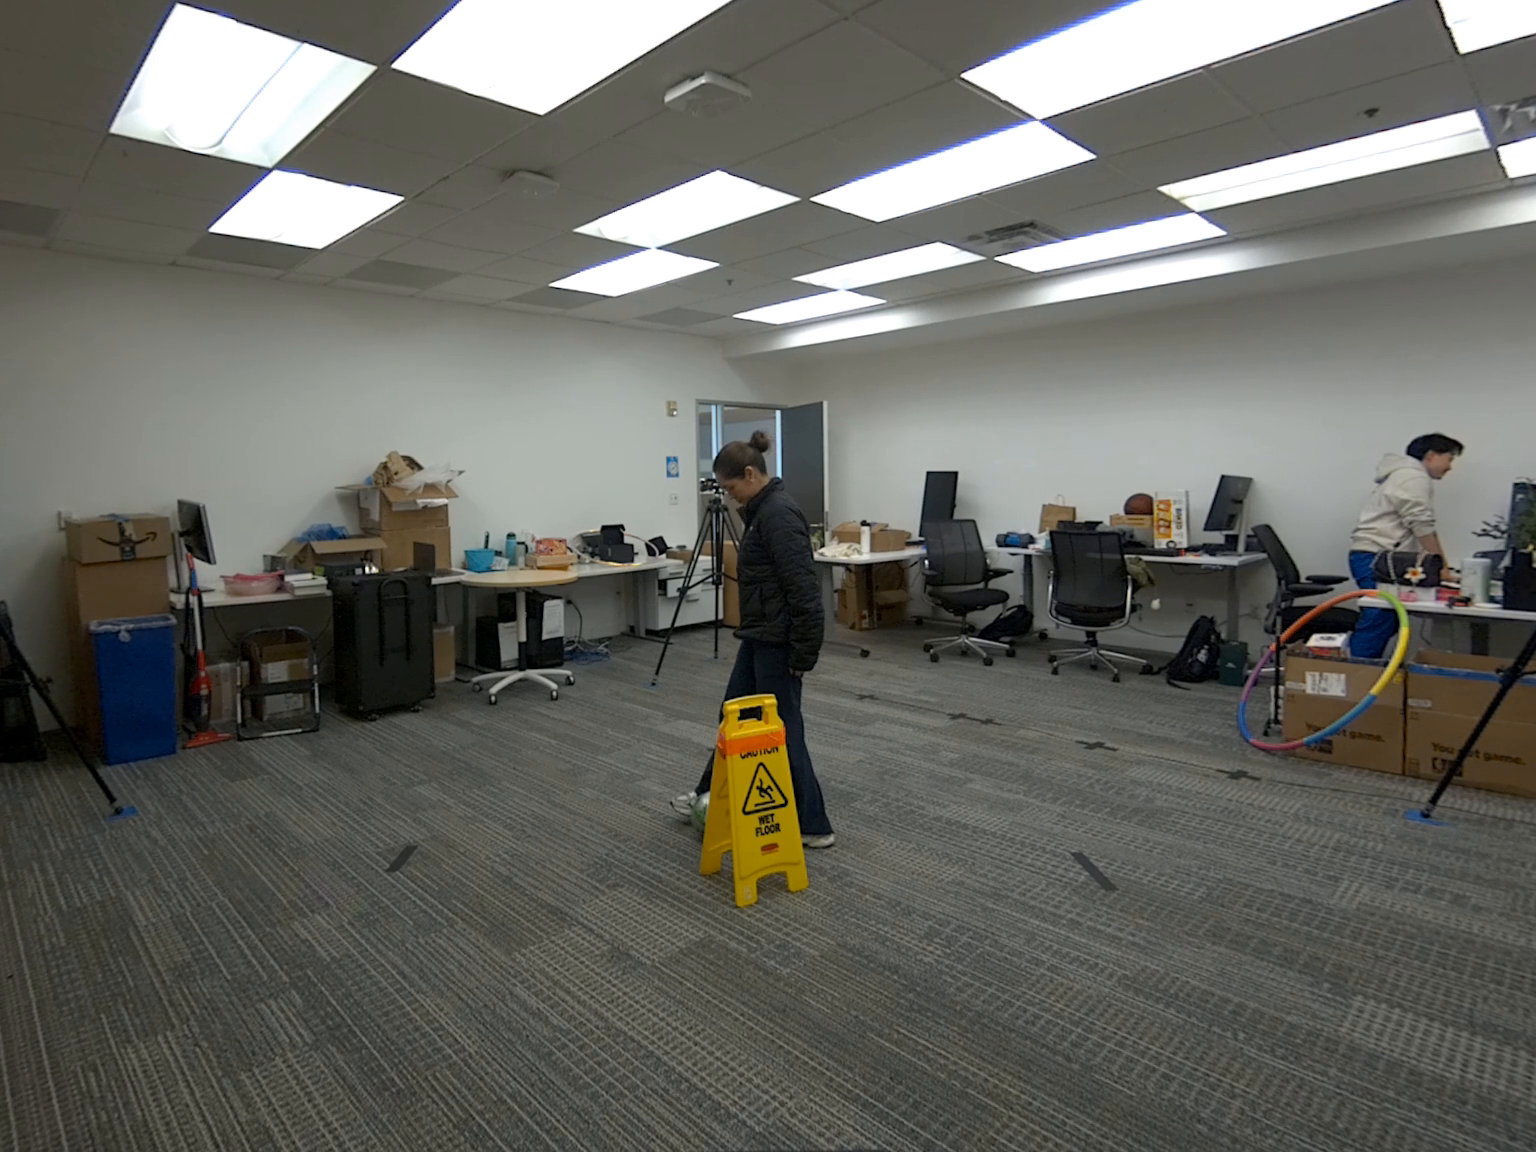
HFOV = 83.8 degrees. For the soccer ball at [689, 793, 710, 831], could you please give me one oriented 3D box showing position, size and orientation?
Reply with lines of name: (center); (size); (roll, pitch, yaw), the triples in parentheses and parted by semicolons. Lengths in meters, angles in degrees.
soccer ball: (-0.190, 0.938, 3.317); (0.187, 0.187, 0.188); (-1, 5, -2)
